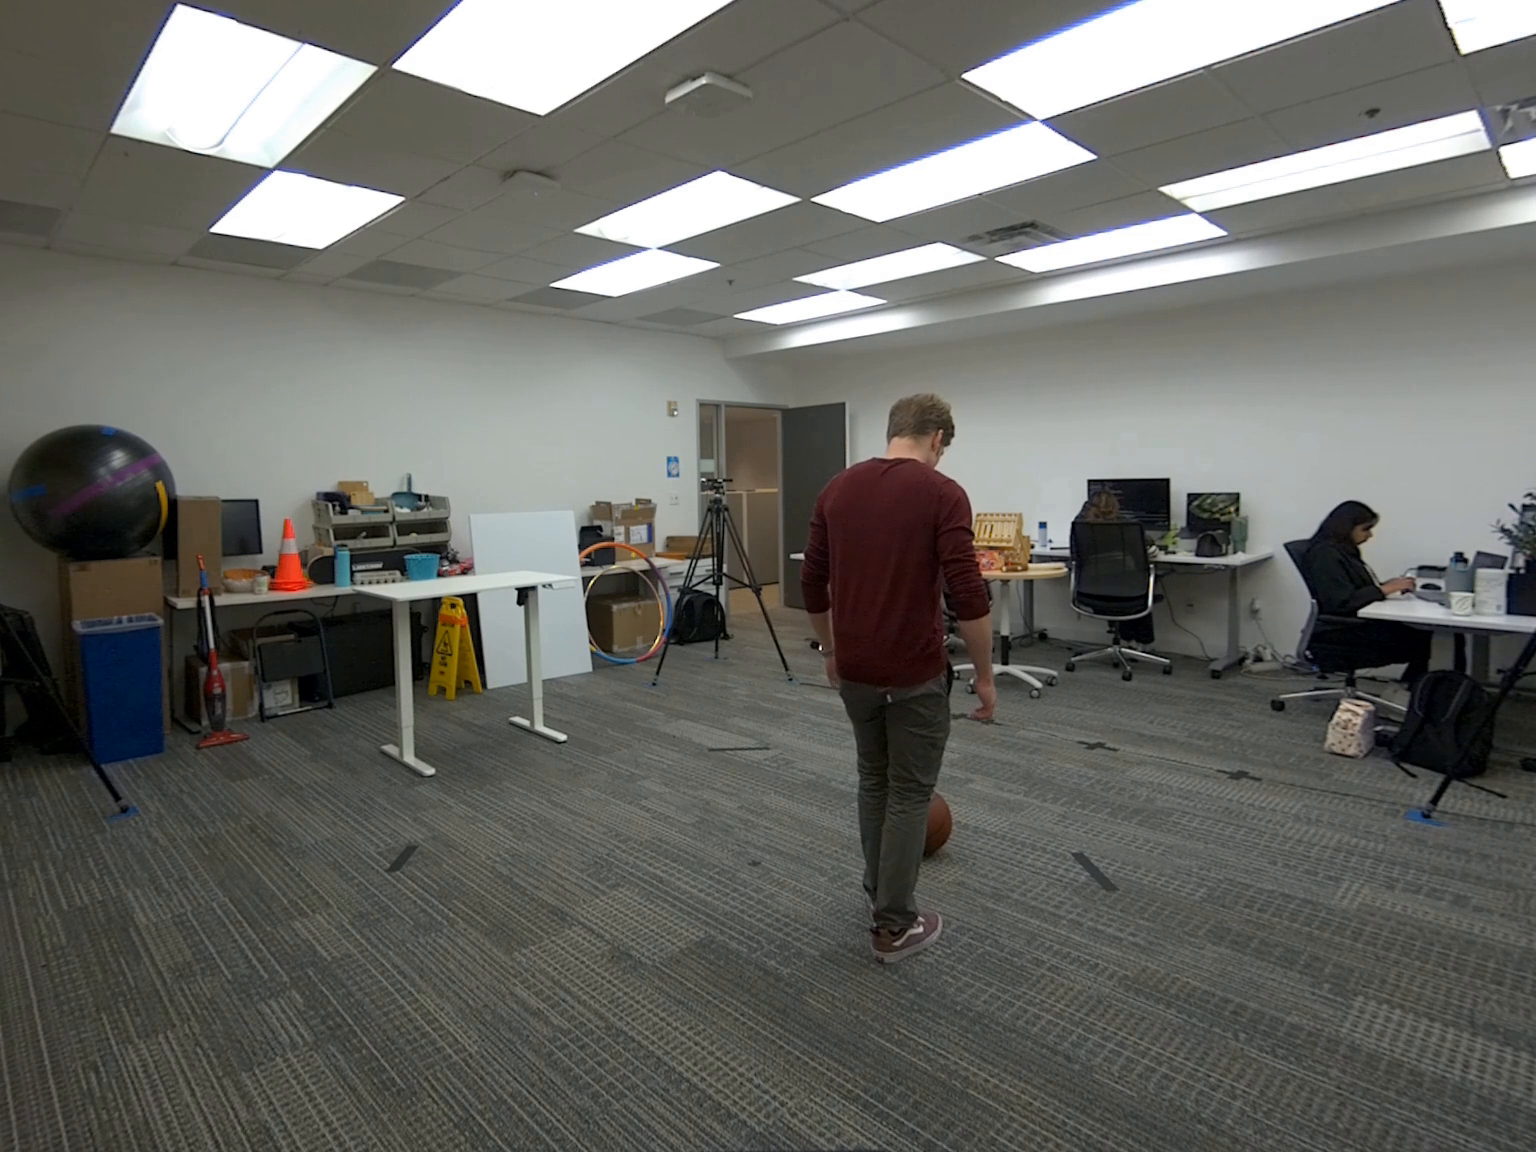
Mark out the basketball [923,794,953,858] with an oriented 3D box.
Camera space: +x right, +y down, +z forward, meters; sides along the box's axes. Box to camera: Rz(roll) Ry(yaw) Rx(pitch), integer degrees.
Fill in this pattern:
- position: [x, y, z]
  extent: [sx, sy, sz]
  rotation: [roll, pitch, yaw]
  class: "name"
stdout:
- position: [0.572, 0.910, 3.174]
  extent: [0.236, 0.235, 0.237]
  rotation: [-1, 5, -2]
  class: "basketball"
